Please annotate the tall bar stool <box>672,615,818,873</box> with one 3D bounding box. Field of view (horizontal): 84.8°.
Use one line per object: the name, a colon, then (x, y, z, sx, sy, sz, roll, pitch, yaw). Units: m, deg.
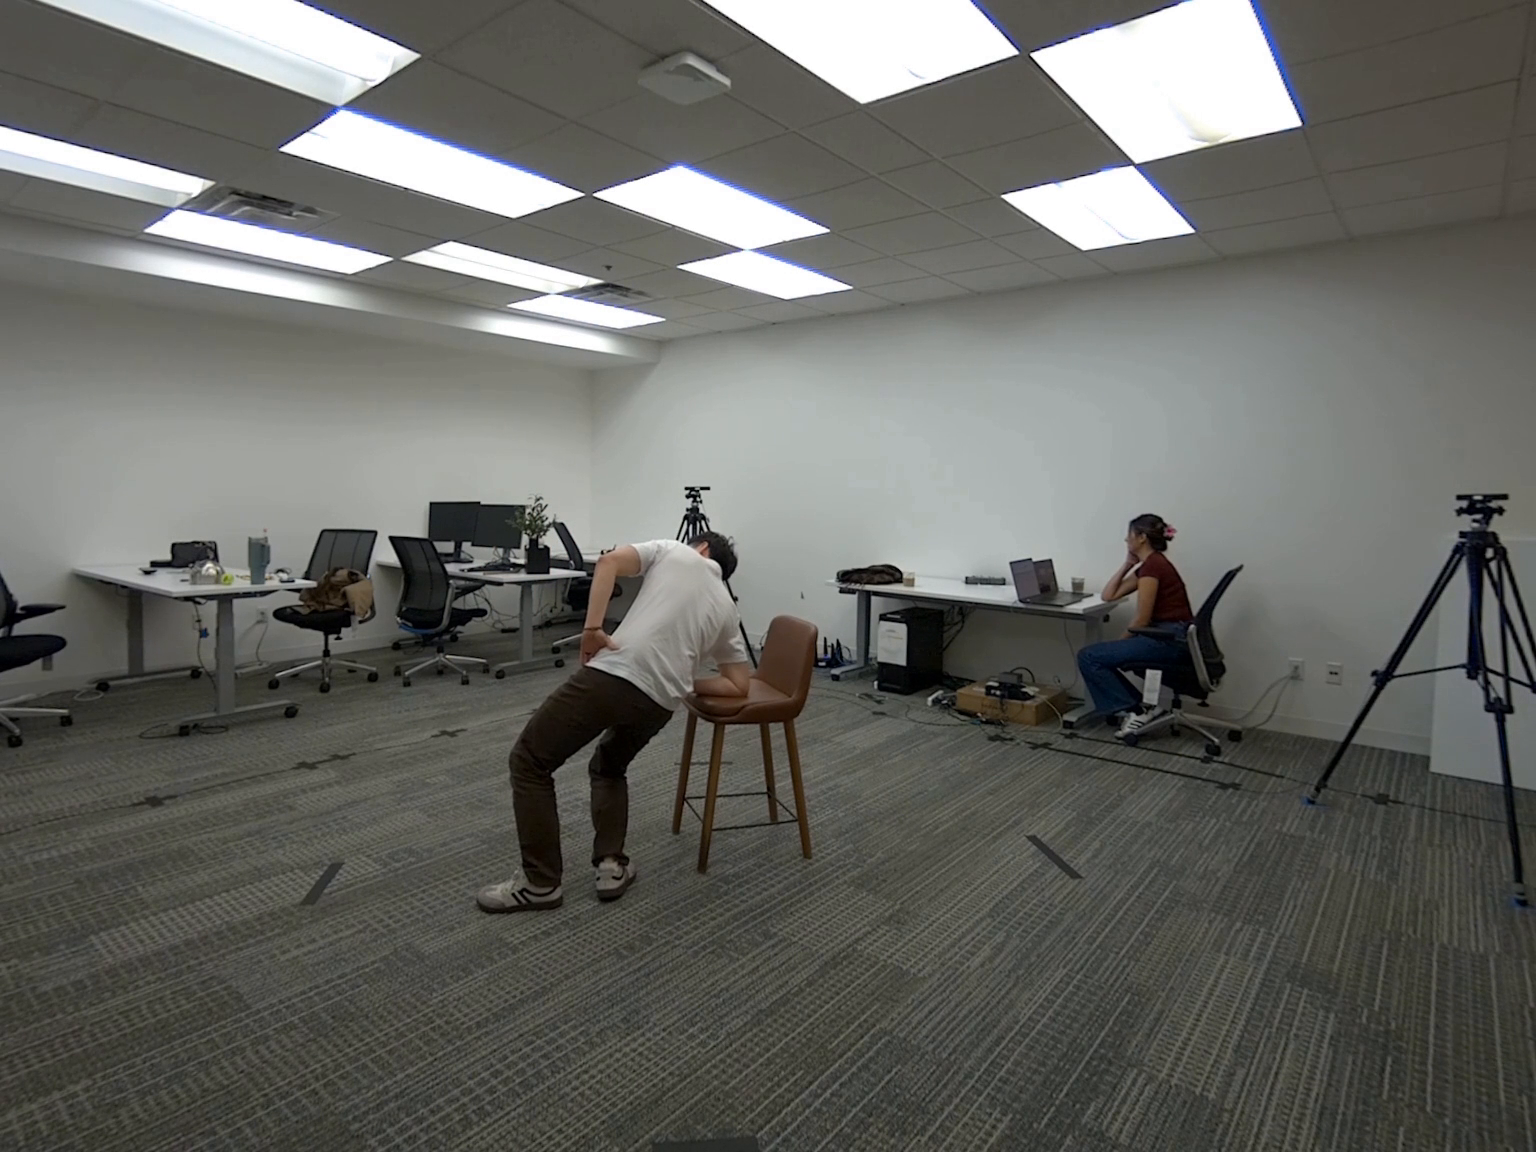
tall bar stool: (-0.105, 0.613, 3.302, 0.458, 0.887, 0.467, 1, 3, -20)
